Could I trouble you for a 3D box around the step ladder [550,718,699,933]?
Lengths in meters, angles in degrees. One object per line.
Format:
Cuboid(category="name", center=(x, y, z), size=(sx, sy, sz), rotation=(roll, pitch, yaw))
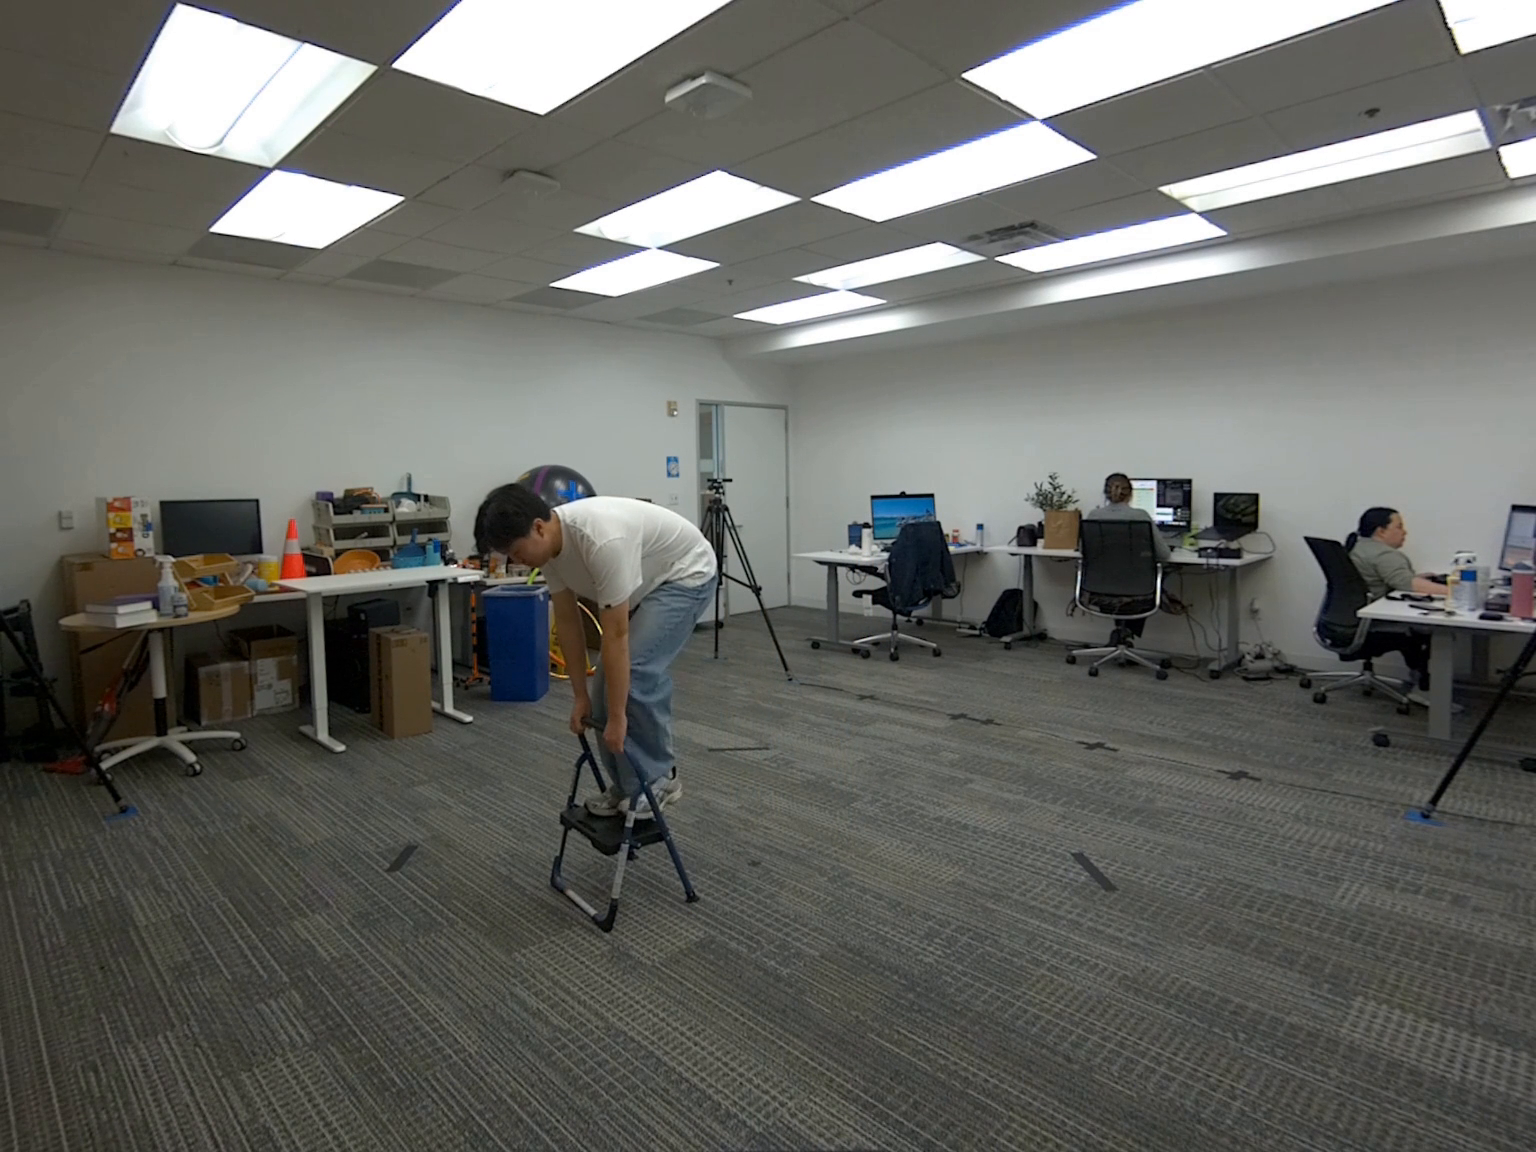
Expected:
Cuboid(category="step ladder", center=(-0.504, 0.777, 2.891), size=(0.340, 0.604, 0.444), rotation=(-5, 6, -38))
